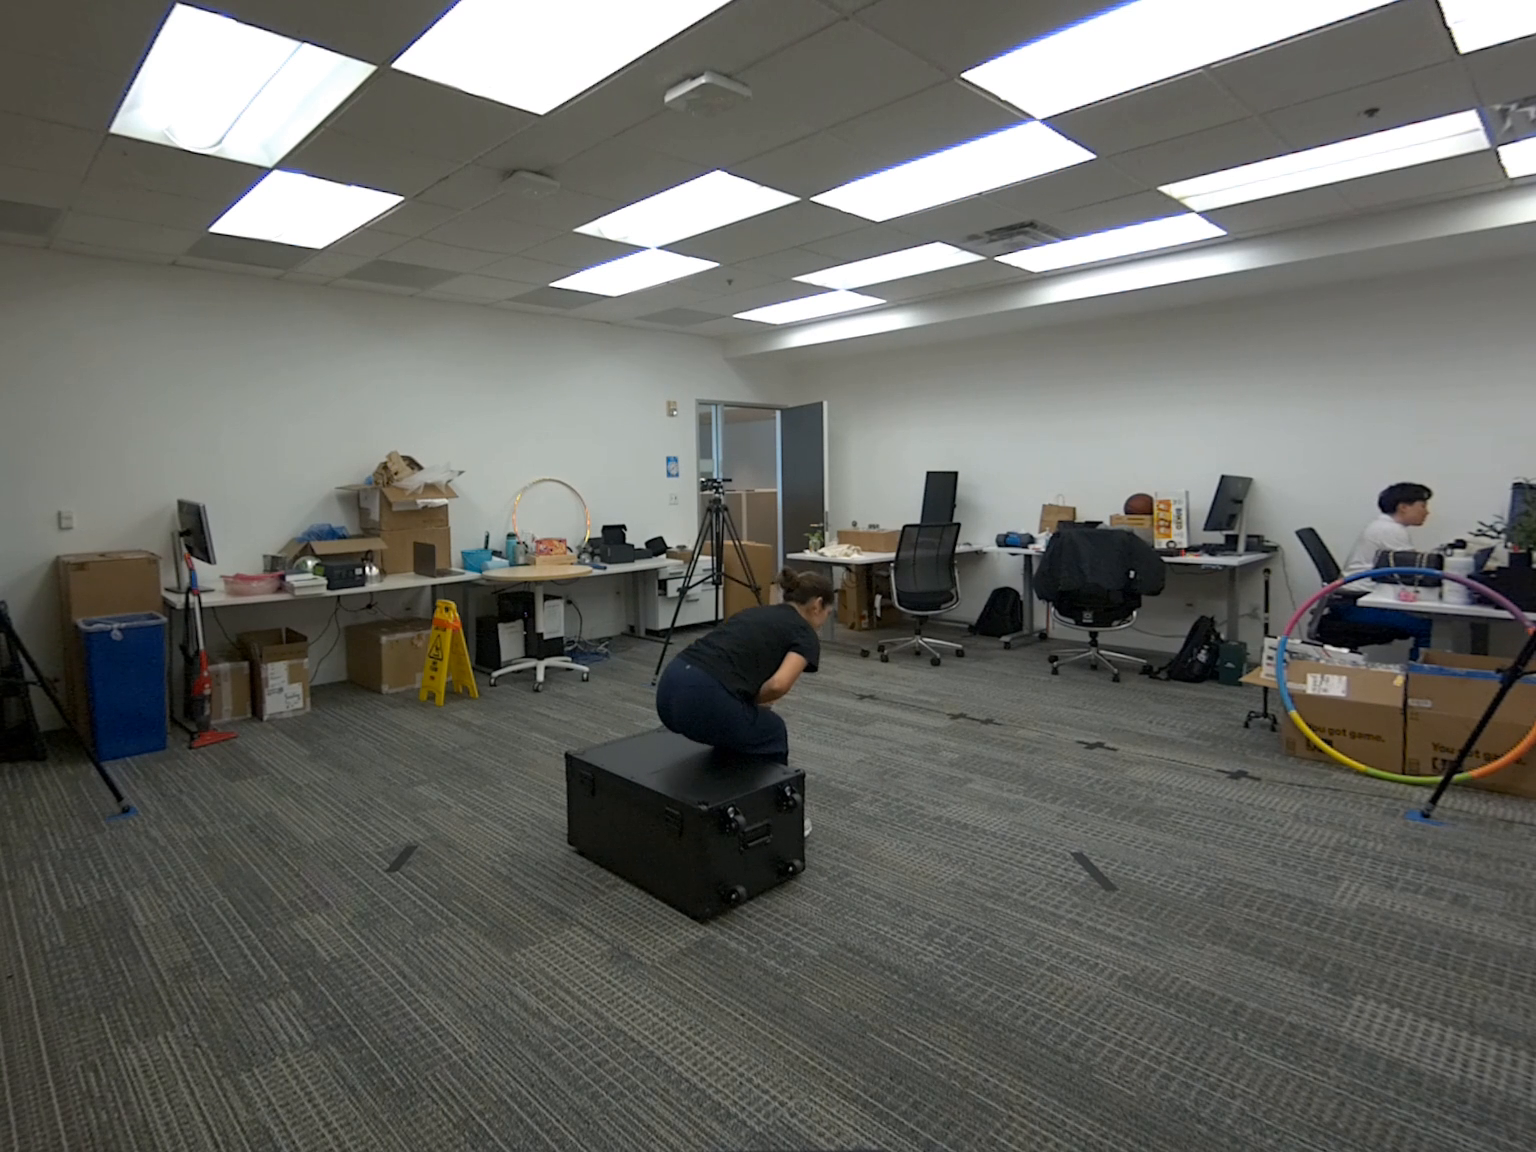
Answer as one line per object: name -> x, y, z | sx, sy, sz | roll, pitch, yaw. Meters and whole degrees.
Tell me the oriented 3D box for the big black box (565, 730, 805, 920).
big black box -> -0.298, 0.860, 3.091 | 0.508, 0.394, 0.888 | -7, 8, -45
